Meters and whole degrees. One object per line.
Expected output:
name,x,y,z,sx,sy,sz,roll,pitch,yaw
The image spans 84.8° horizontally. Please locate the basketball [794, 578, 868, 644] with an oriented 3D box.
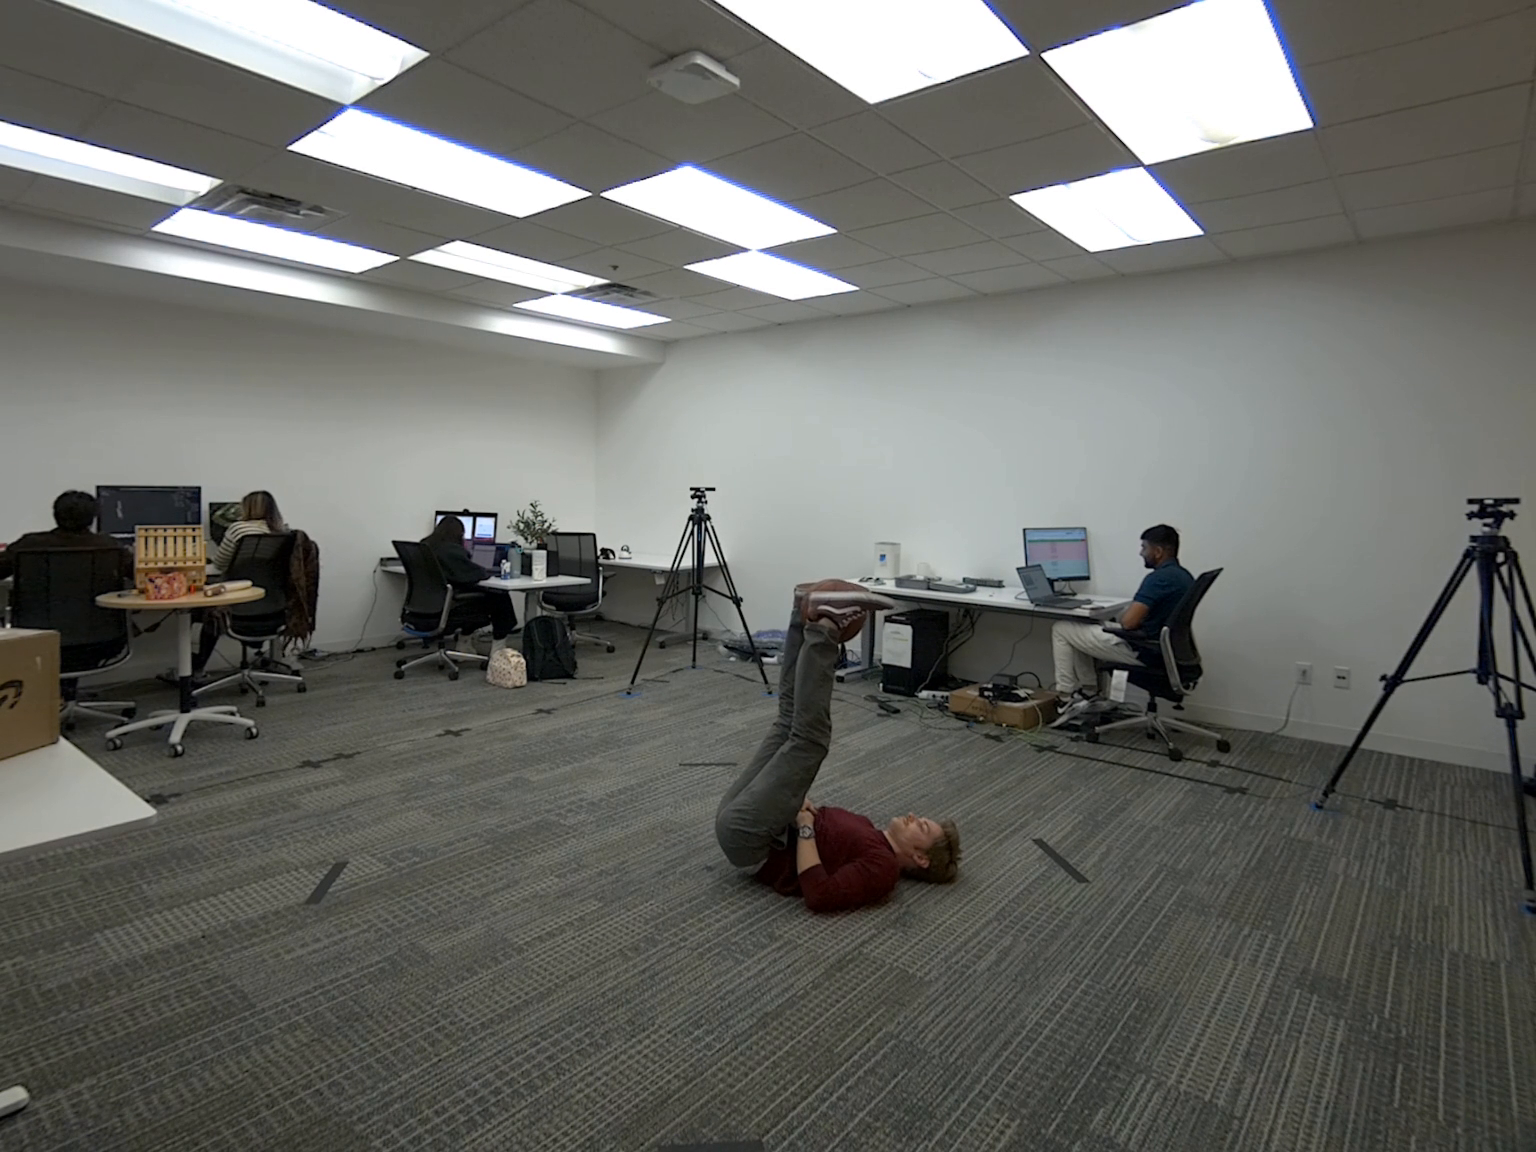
basketball,0.224,0.125,3.092,0.236,0.235,0.237,-3,3,-2
